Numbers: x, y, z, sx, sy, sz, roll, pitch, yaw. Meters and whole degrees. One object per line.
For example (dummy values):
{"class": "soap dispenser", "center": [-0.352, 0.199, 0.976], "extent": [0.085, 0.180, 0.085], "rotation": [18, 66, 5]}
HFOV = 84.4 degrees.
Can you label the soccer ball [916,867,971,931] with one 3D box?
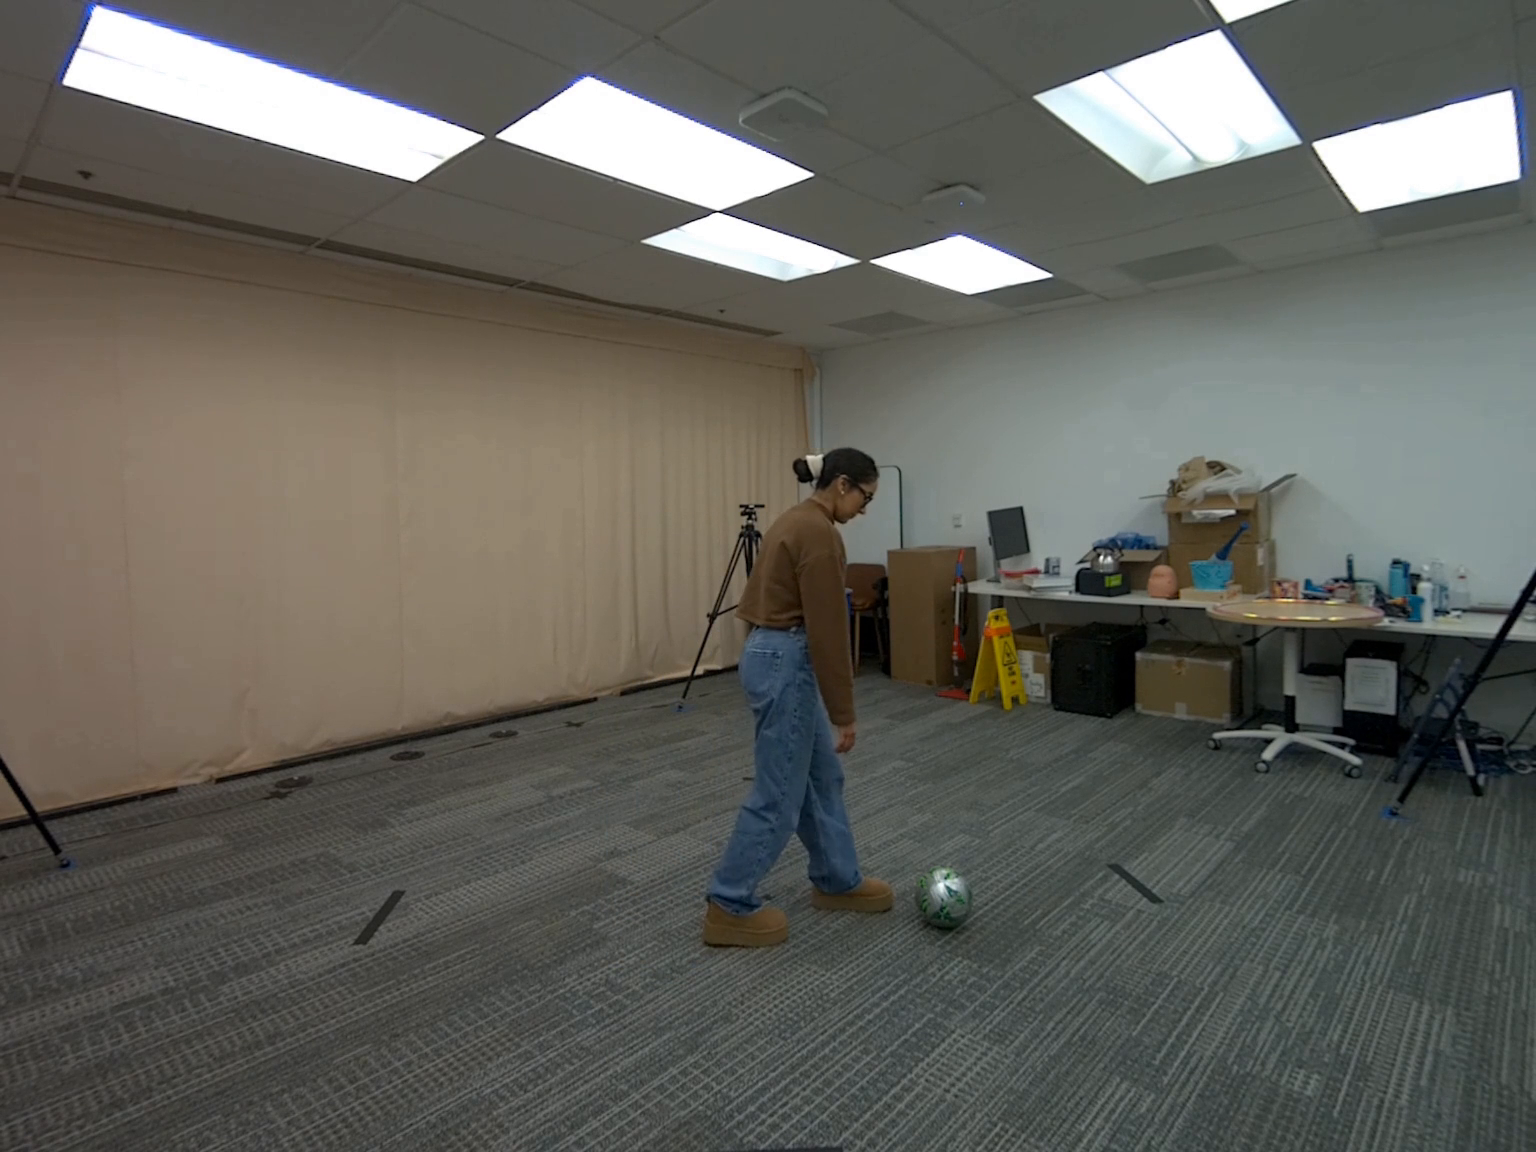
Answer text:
{"class": "soccer ball", "center": [0.583, 1.055, 2.754], "extent": [0.187, 0.187, 0.188], "rotation": [-1, 4, -2]}
